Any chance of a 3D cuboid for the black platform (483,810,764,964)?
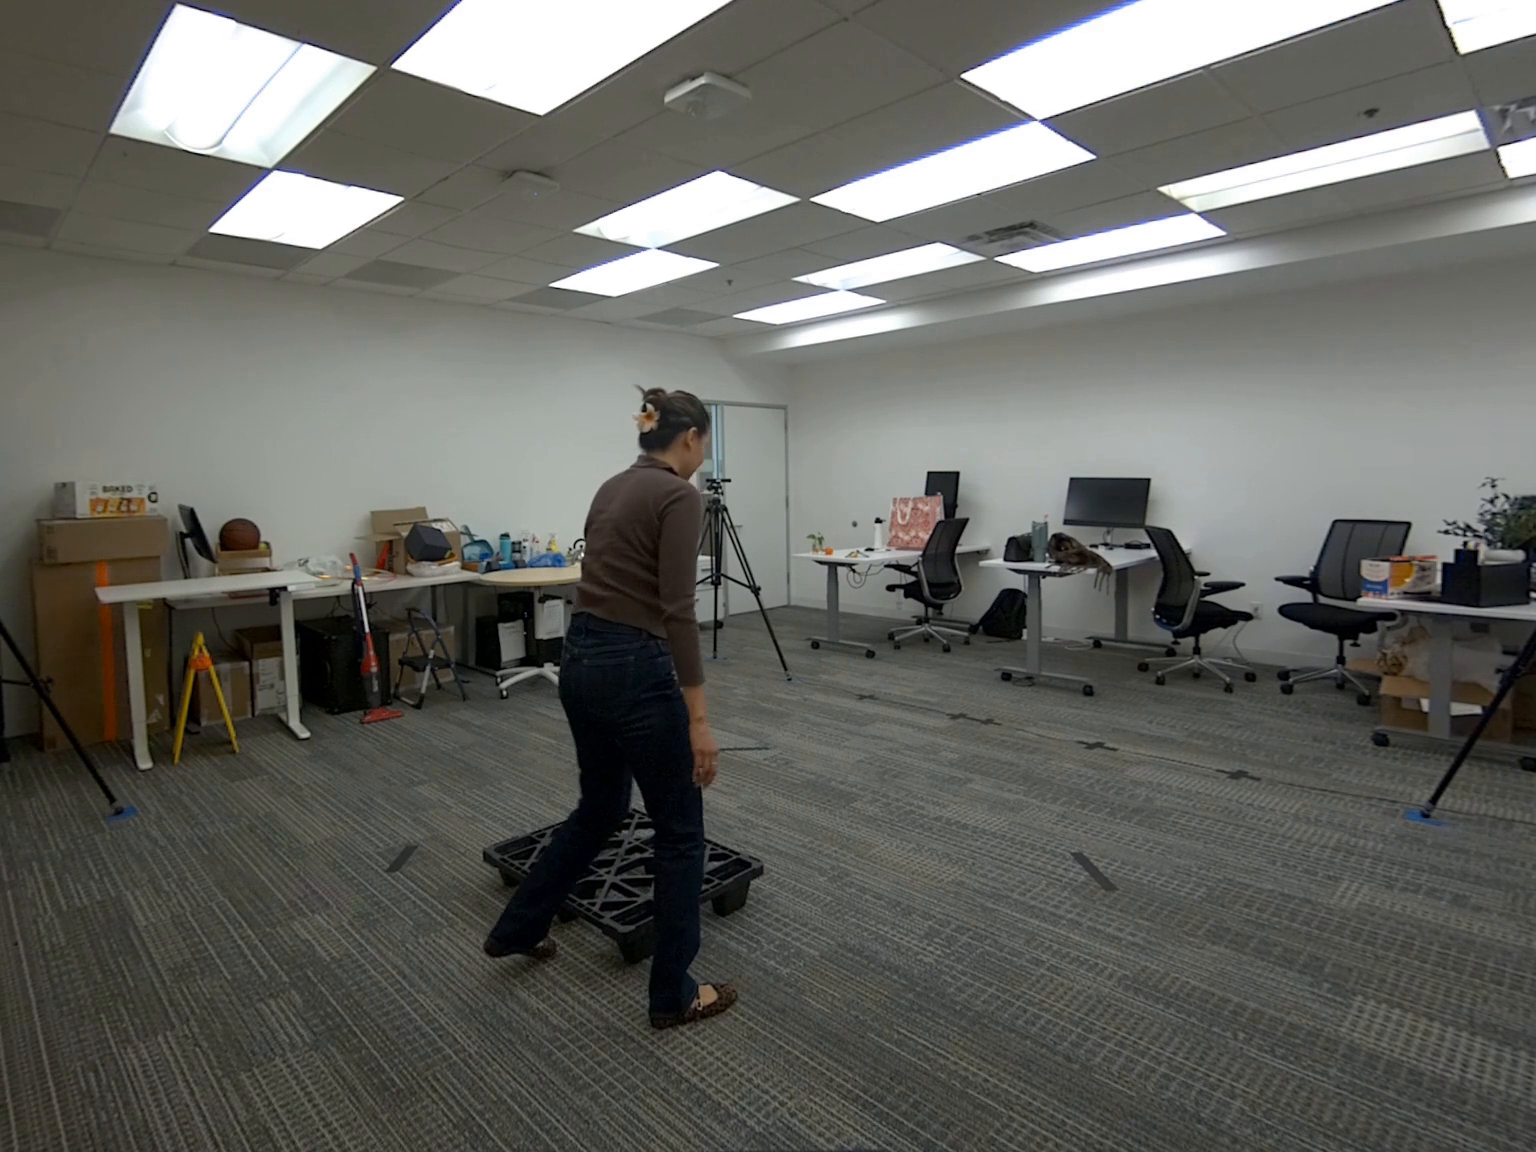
[{"bbox_3d":[-0.496,1.011,2.896,0.831,0.142,0.589,6,9,43],"label":"black platform"}]
